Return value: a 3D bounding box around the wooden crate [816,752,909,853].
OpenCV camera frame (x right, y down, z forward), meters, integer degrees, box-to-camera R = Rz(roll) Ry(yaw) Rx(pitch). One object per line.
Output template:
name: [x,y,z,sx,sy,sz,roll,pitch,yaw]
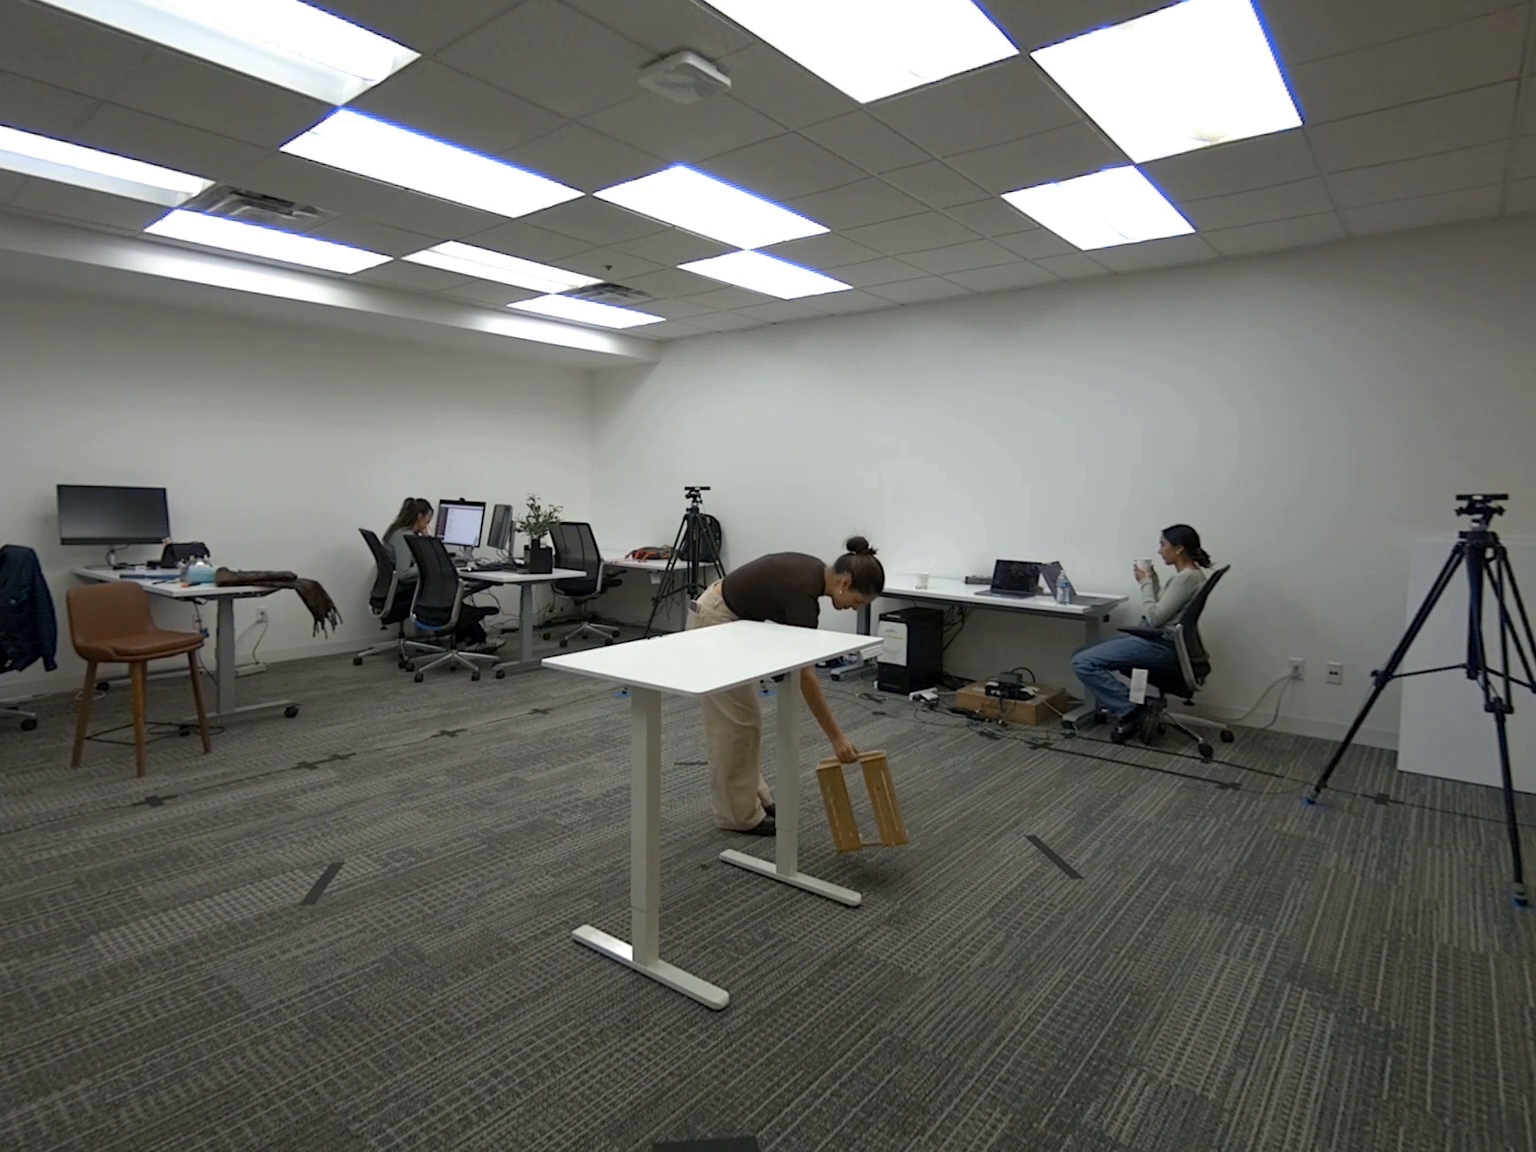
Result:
wooden crate: [0.342,0.818,3.140,0.275,0.327,0.298,-16,-6,6]
